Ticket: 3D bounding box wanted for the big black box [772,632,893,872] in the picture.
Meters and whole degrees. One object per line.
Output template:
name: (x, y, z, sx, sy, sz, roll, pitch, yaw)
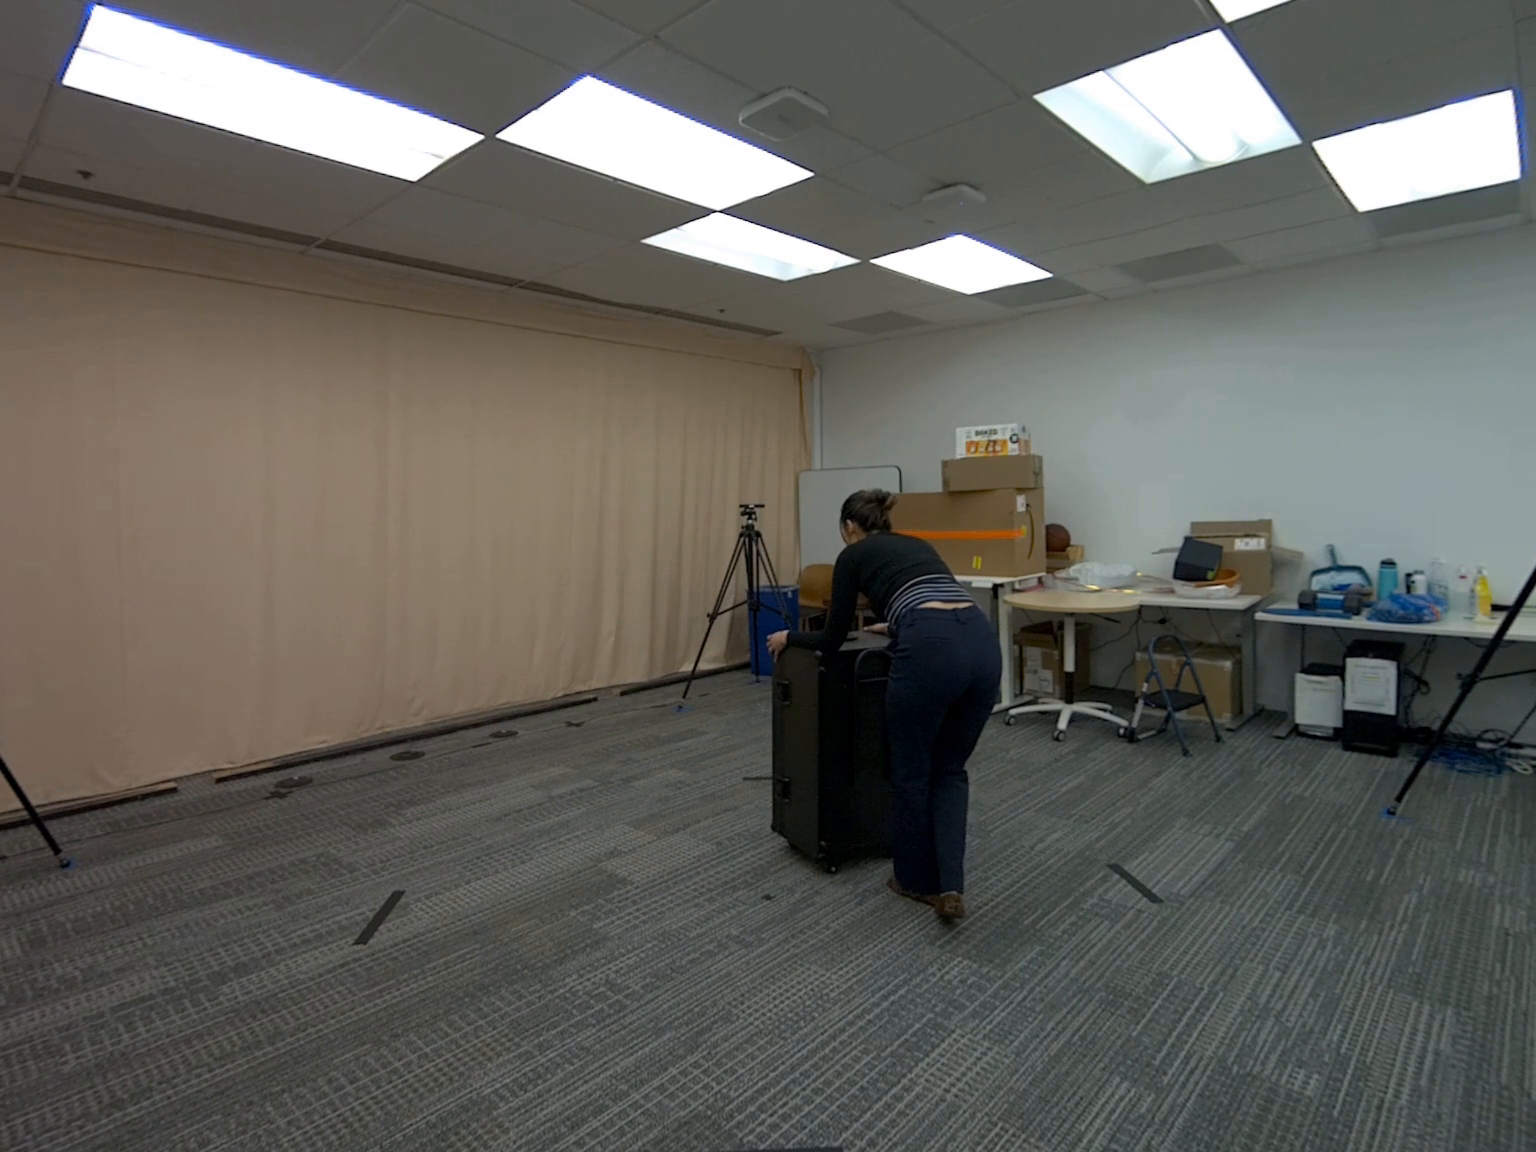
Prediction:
big black box: (0.324, 0.679, 3.327, 0.508, 0.859, 0.407, -2, 5, -27)
